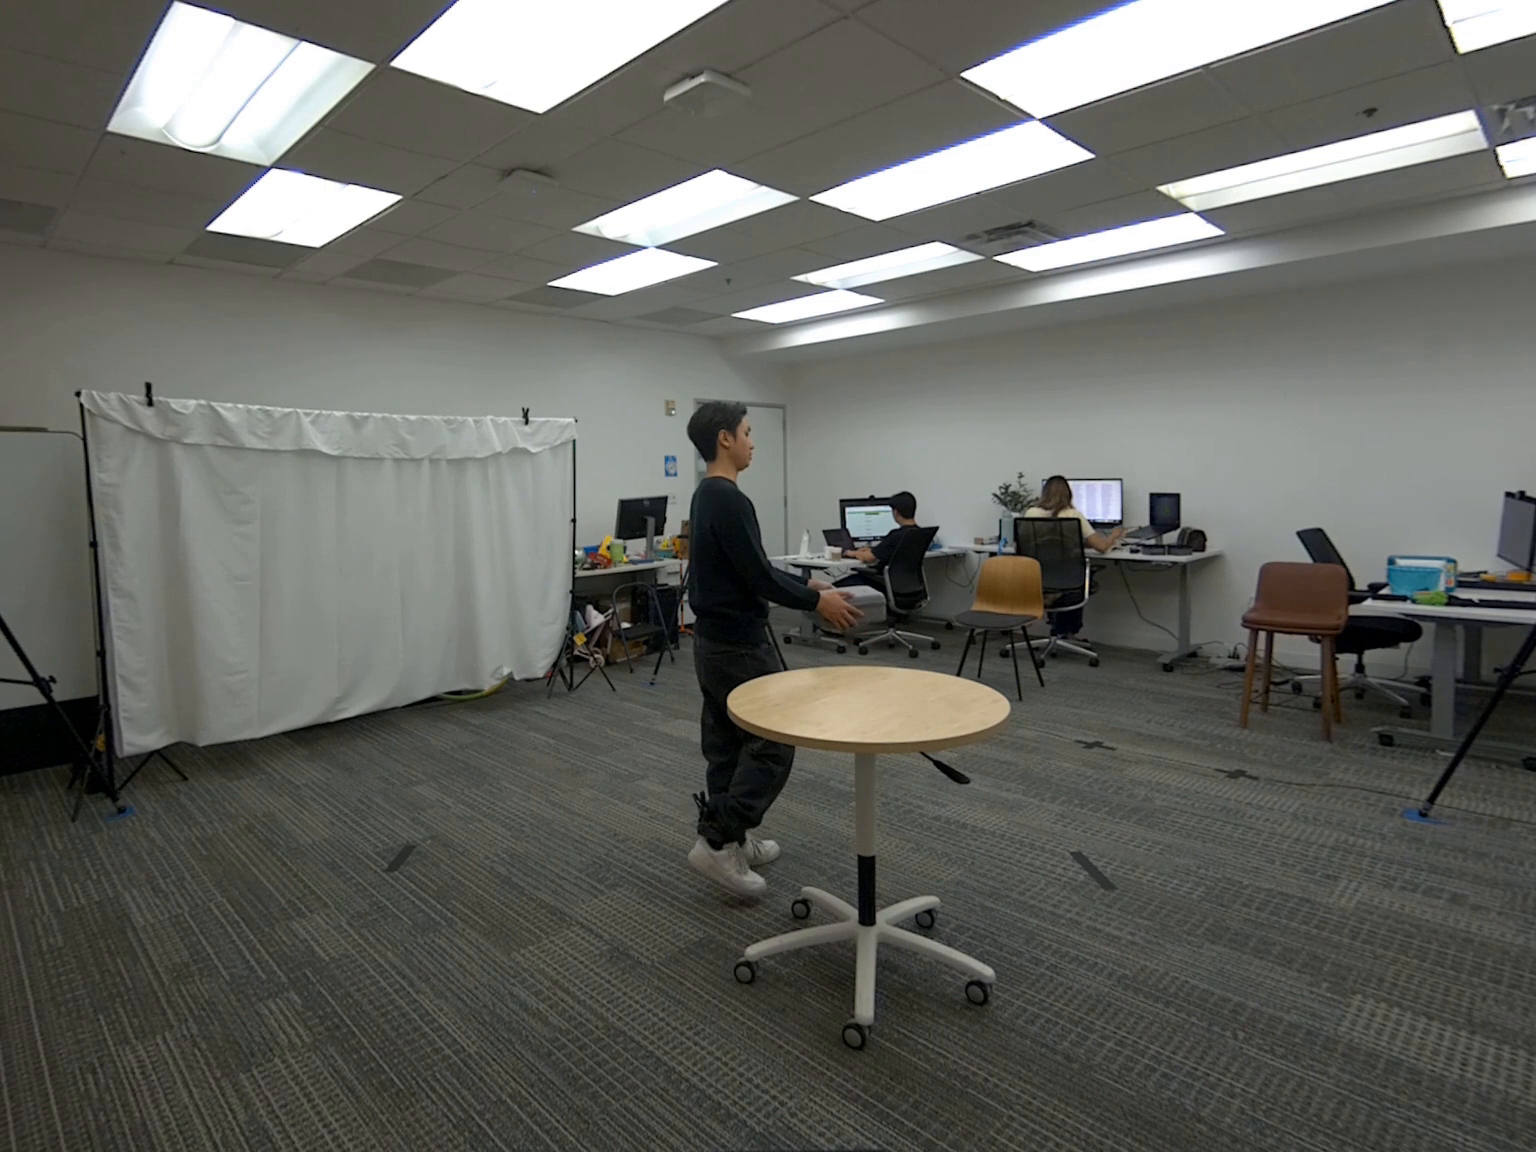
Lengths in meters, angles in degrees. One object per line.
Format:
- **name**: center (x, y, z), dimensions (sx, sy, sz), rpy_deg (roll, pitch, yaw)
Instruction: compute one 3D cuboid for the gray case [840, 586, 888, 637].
- **gray case**: center (0.267, 0.104, 3.078), dimensions (0.260, 0.103, 0.259), rpy_deg (-5, 8, -3)
